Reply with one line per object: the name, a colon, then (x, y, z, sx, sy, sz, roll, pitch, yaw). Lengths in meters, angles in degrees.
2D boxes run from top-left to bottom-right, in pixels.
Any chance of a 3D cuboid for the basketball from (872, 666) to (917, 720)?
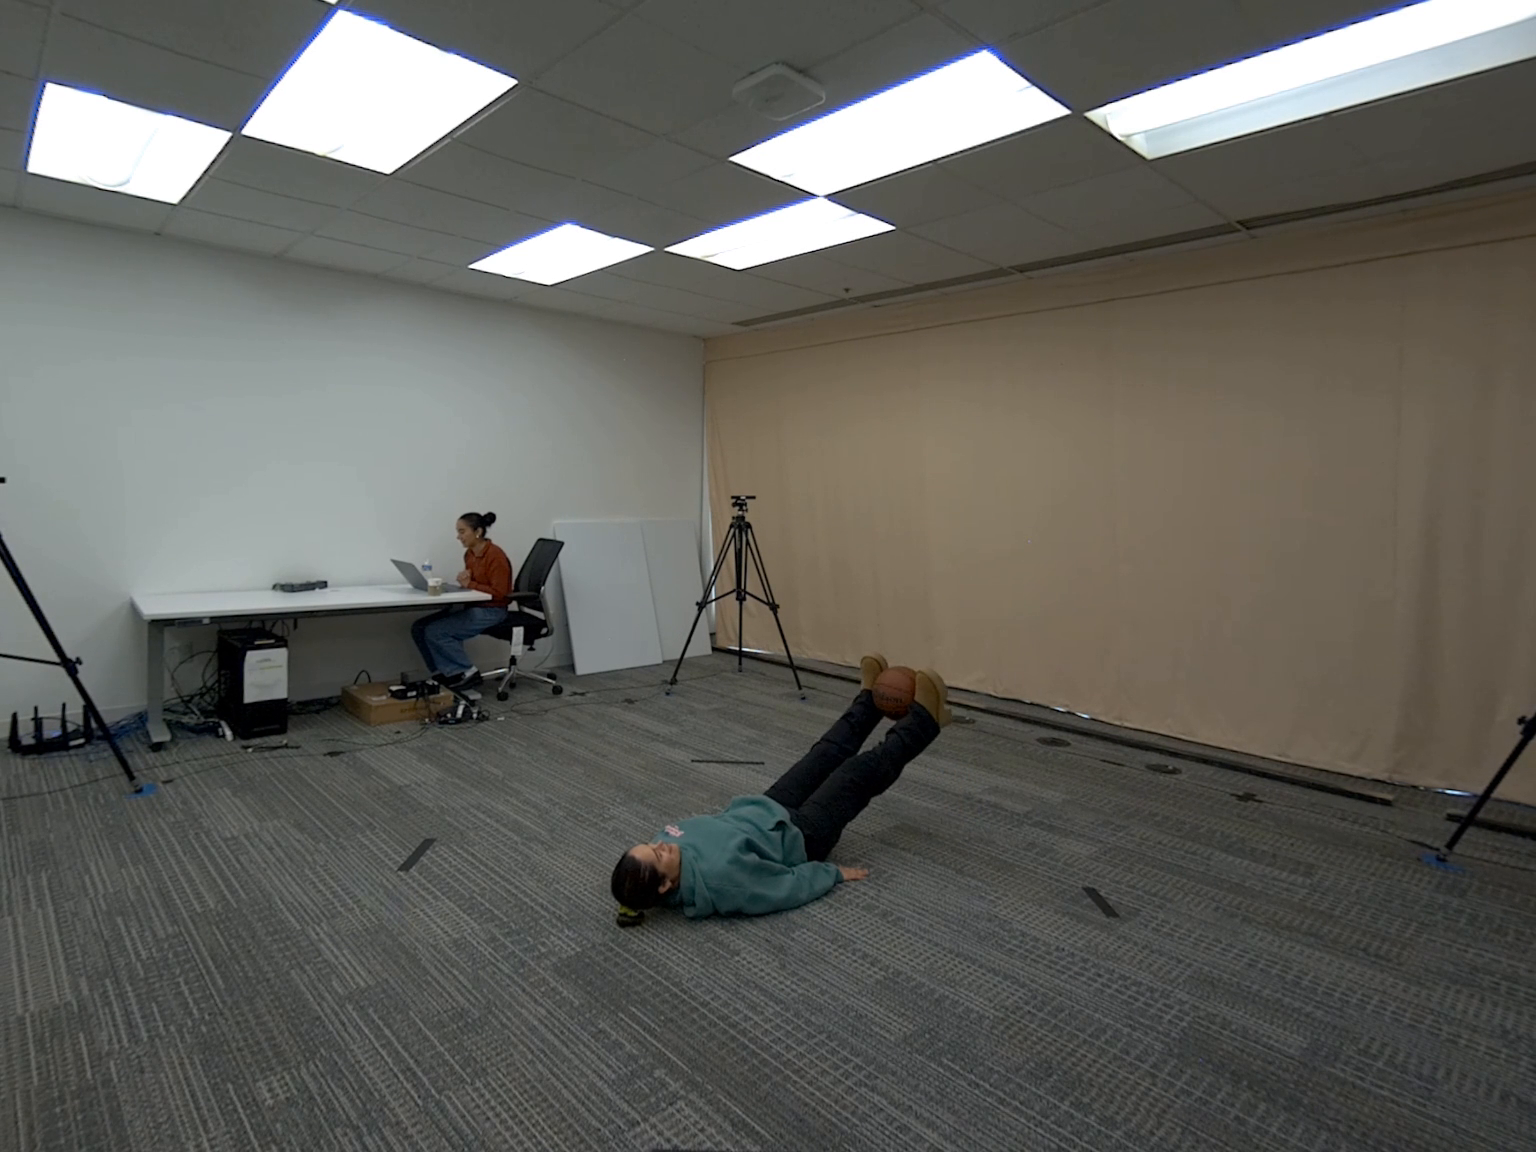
basketball: (0.557, 0.510, 3.631, 0.236, 0.235, 0.237, 1, 5, -1)
